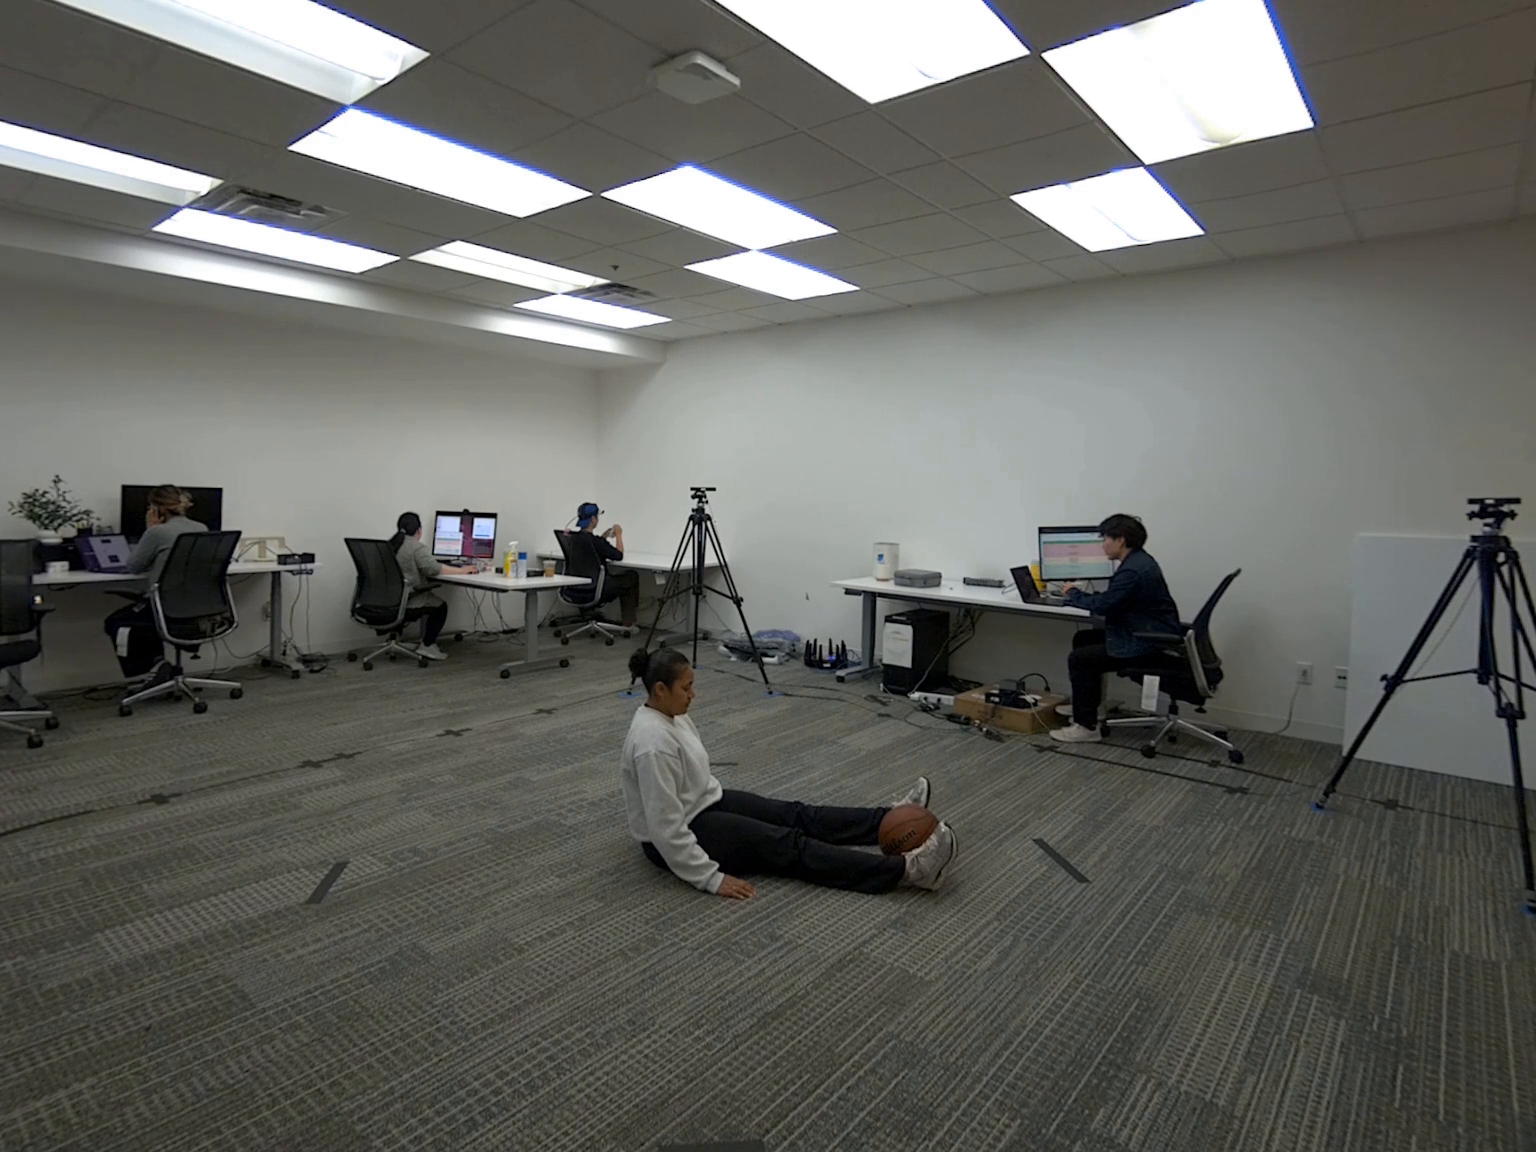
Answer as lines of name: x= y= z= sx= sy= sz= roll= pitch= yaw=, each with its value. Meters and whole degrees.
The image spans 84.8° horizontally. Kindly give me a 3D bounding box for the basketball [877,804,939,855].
basketball: x=0.524 y=0.968 z=3.135 sx=0.235 sy=0.235 sz=0.237 roll=1 pitch=4 yaw=-2
